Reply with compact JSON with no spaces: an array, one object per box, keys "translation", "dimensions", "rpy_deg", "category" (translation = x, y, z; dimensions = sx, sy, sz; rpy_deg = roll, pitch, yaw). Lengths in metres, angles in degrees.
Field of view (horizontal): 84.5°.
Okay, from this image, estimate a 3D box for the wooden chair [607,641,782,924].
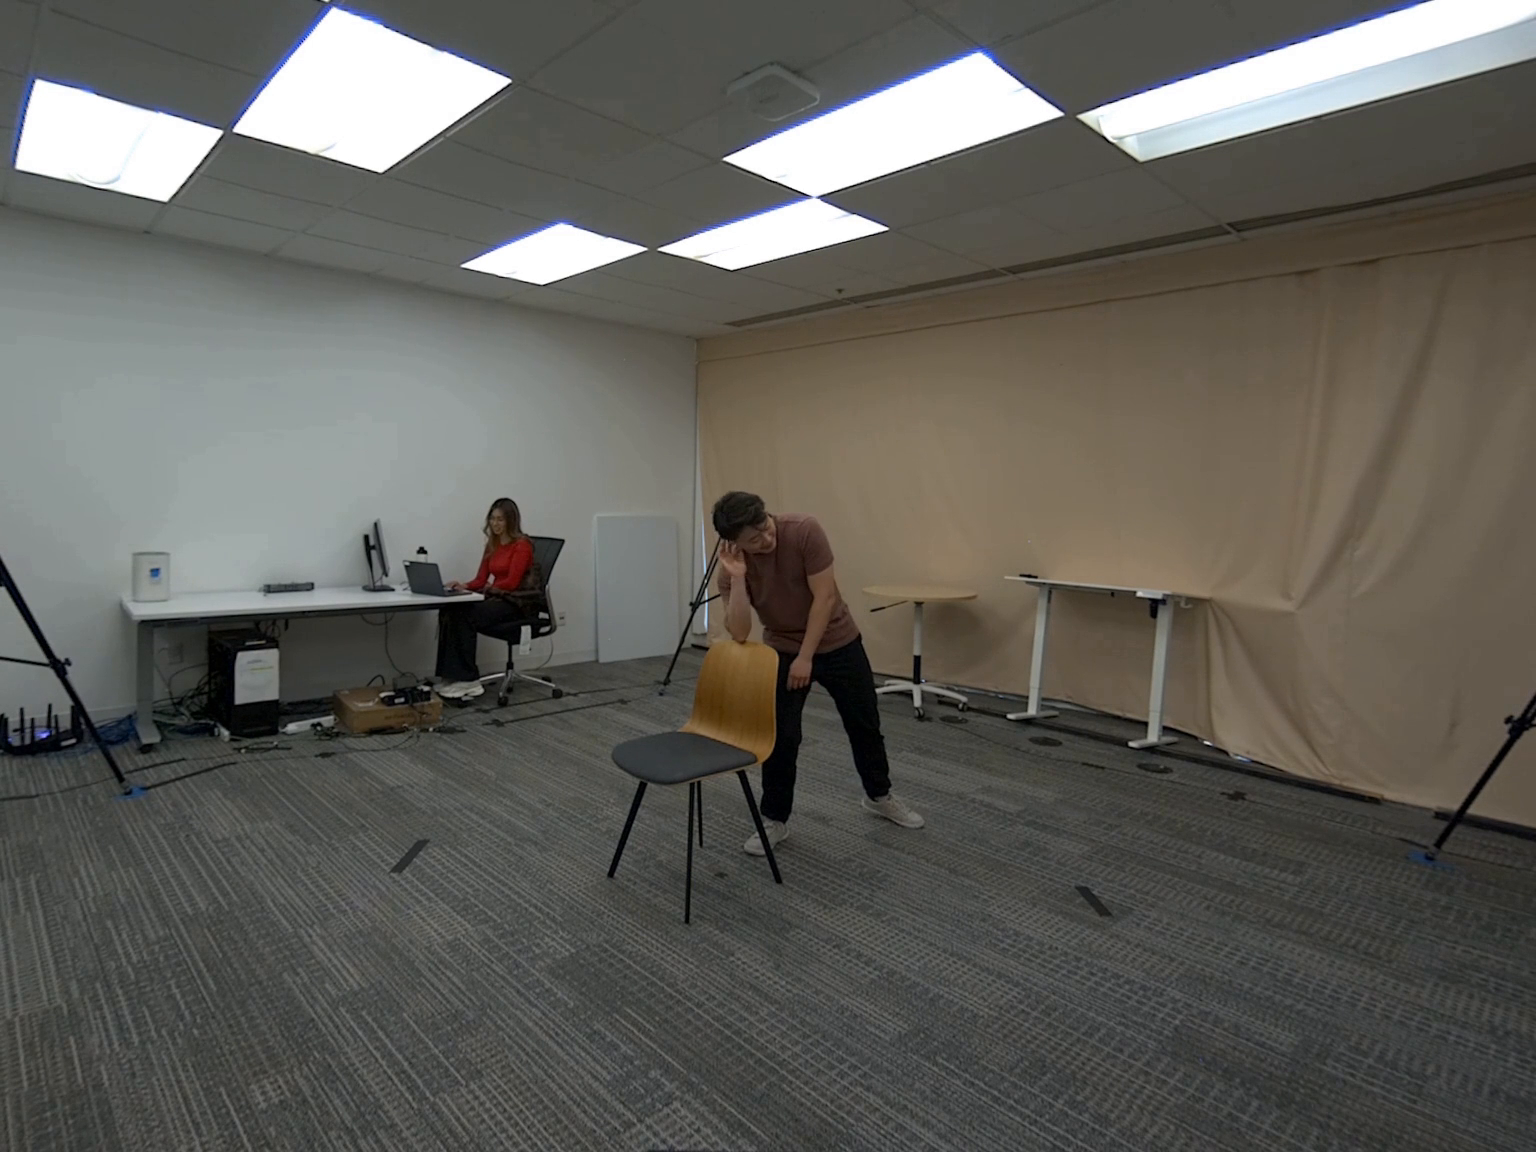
[{"translation":[-0.266,0.683,3.014],"dimensions":[0.510,0.877,0.490],"rpy_deg":[4,0,-45],"category":"wooden chair"}]
